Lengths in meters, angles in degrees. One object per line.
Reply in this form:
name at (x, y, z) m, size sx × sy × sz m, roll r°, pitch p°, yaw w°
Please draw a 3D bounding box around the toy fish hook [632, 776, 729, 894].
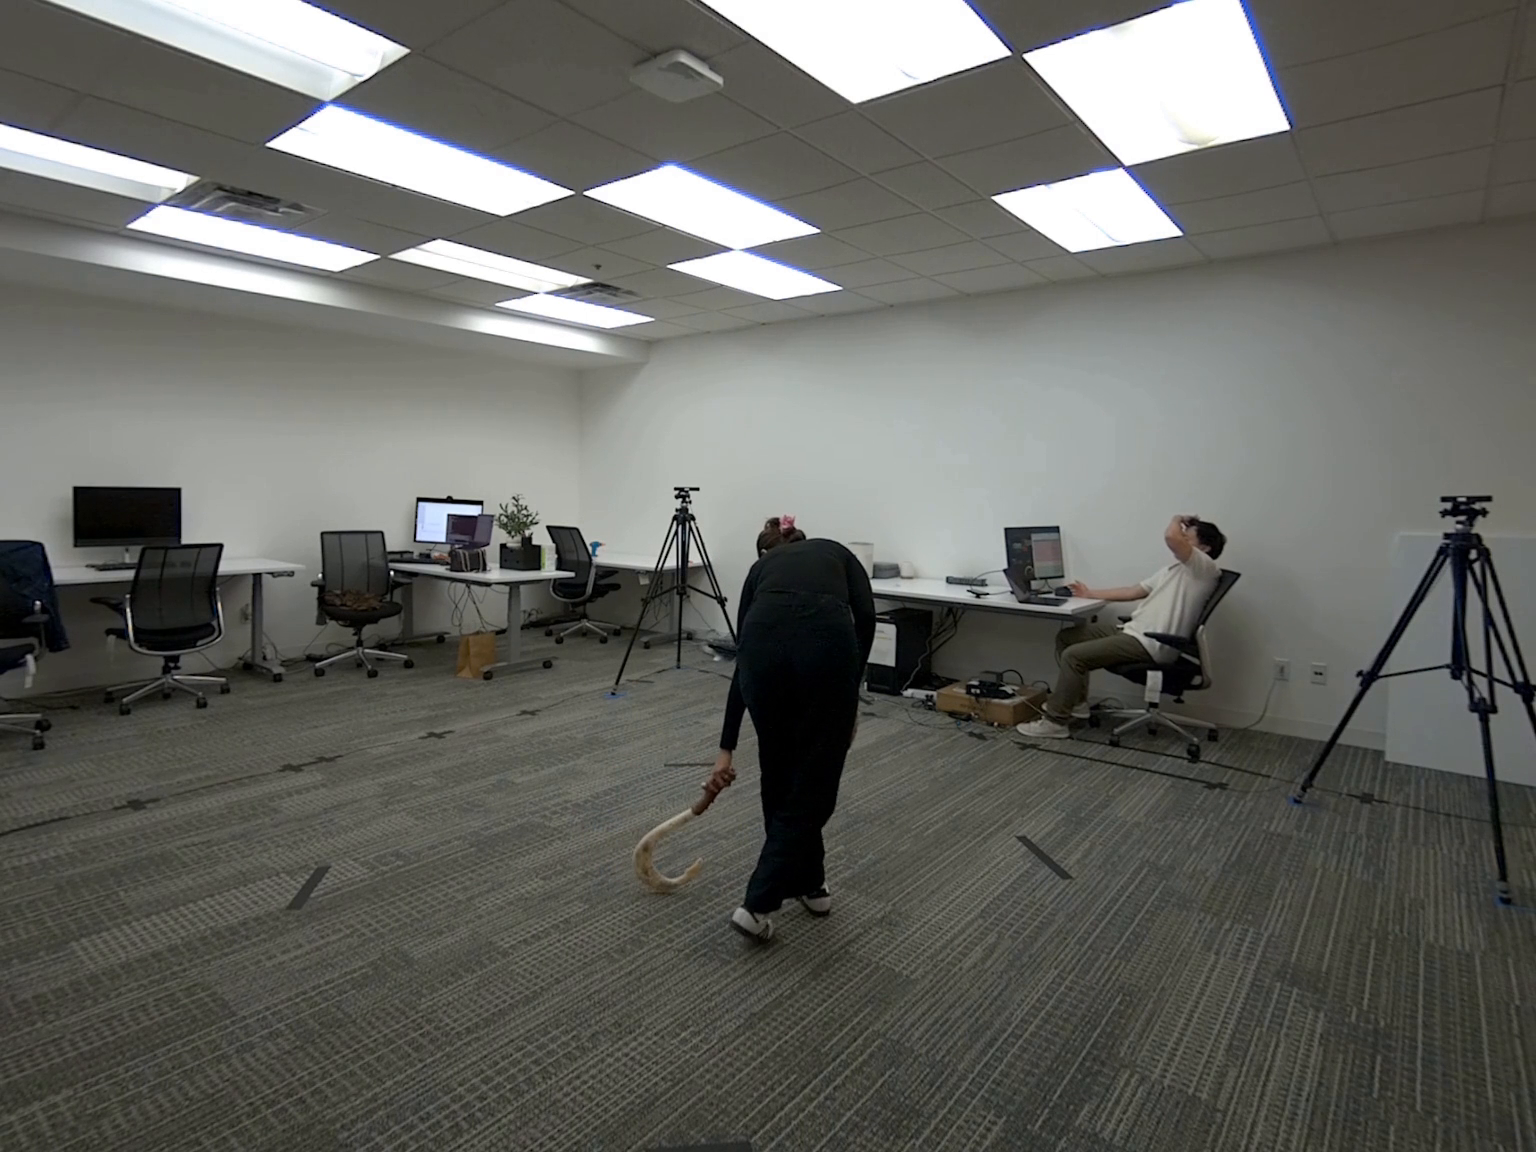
toy fish hook at (-0.261, 0.866, 2.898) m, size 0.222 × 0.506 × 0.049 m, roll 41°, pitch 6°, yaw -8°
